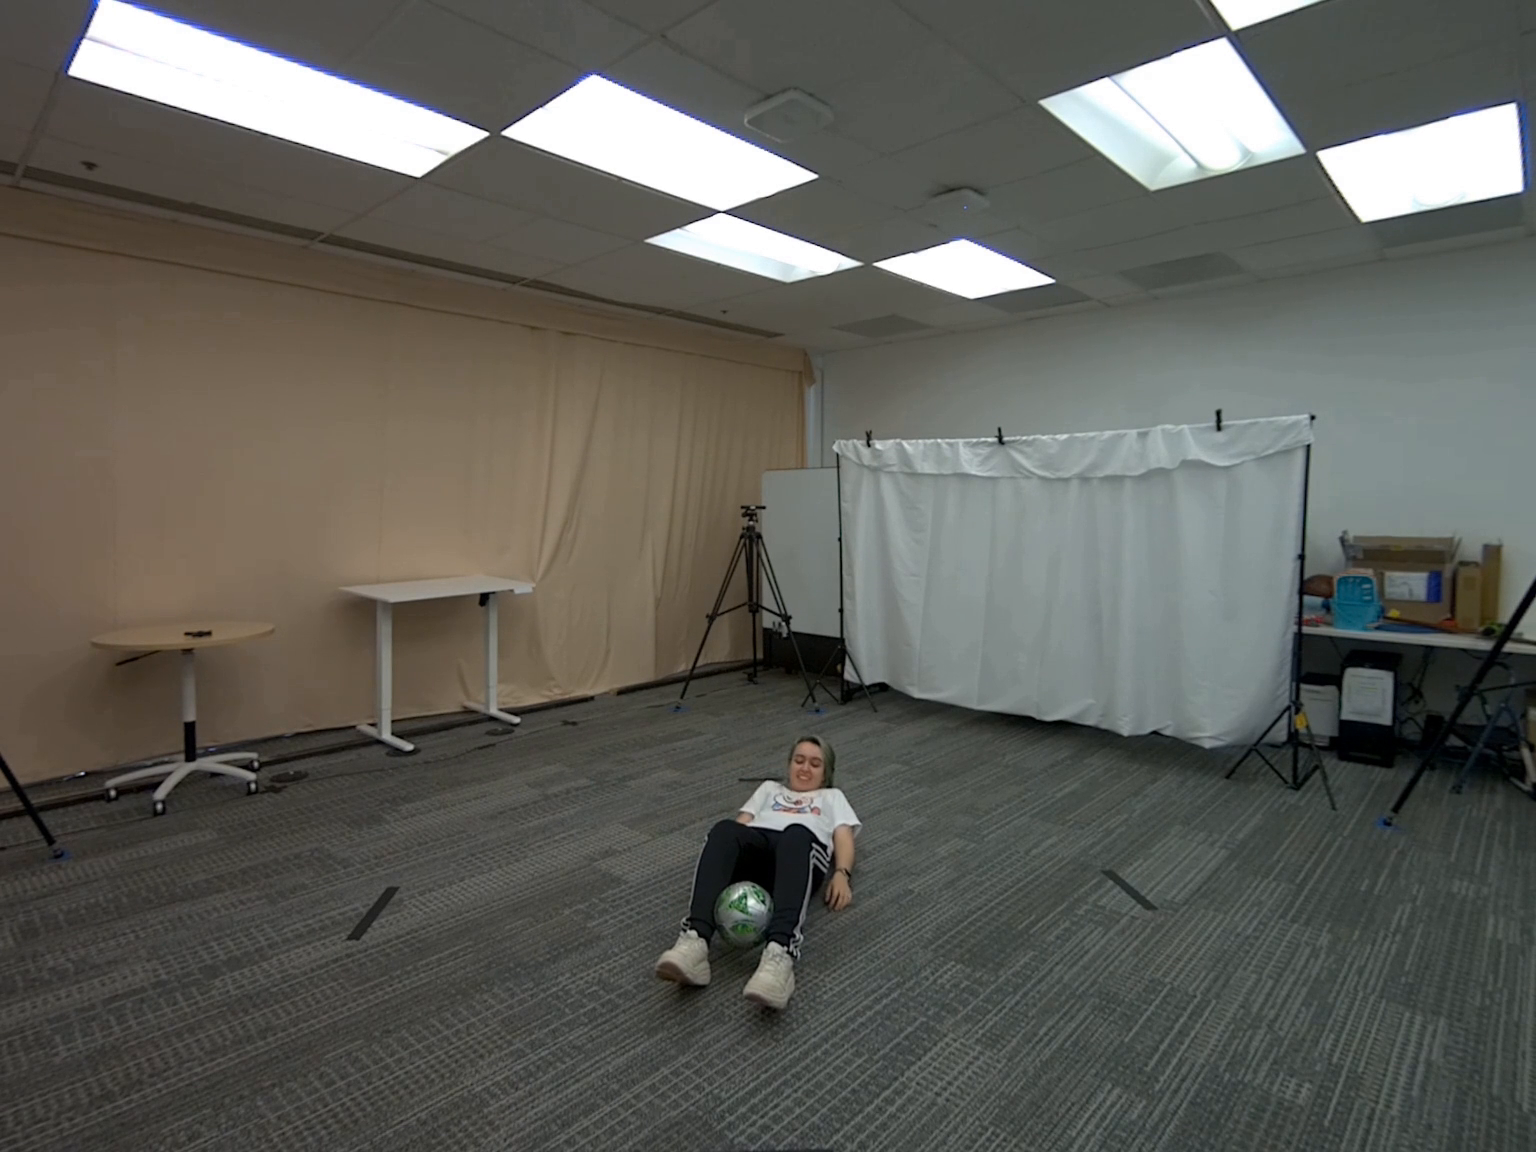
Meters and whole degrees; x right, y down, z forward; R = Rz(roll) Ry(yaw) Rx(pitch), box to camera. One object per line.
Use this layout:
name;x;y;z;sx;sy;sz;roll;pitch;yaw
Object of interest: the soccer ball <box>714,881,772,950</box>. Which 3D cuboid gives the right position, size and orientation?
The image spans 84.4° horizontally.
soccer ball;-0.064;1.019;2.541;0.187;0.187;0.188;0;4;-2
